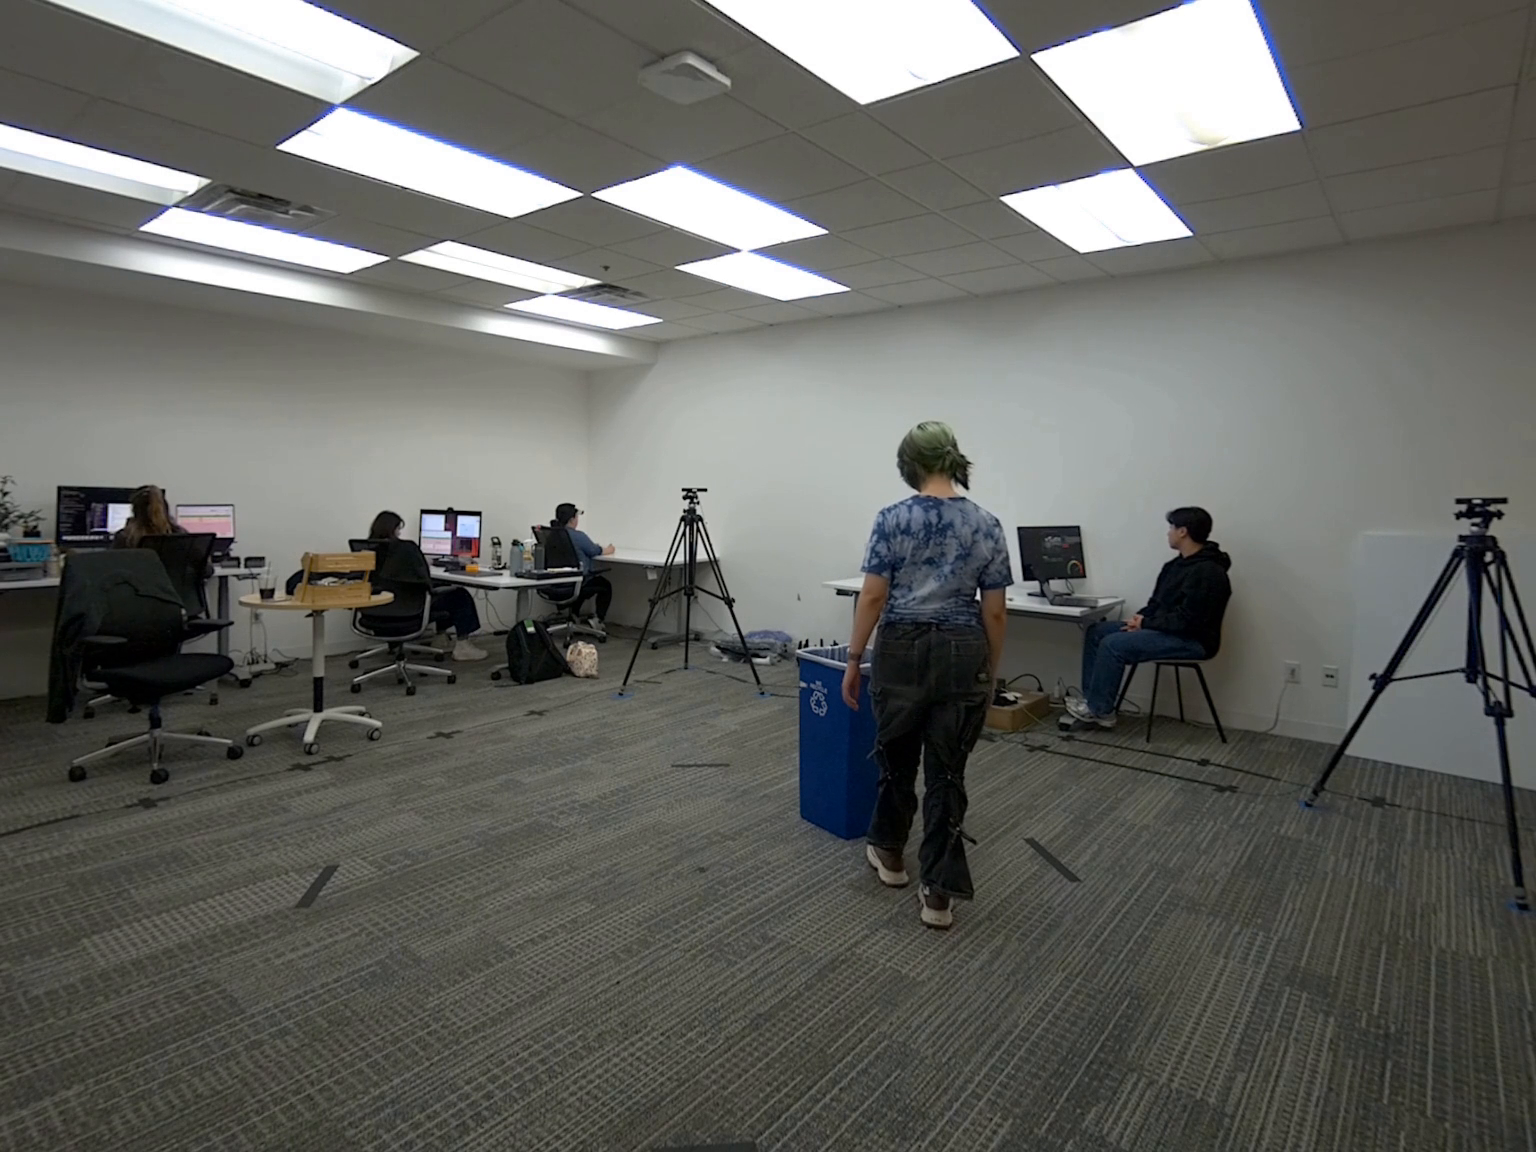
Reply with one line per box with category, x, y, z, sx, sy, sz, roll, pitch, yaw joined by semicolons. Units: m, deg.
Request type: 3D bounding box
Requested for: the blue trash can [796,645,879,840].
blue trash can;0.352;0.678;3.573;0.367;0.711;0.386;-1;4;-37
